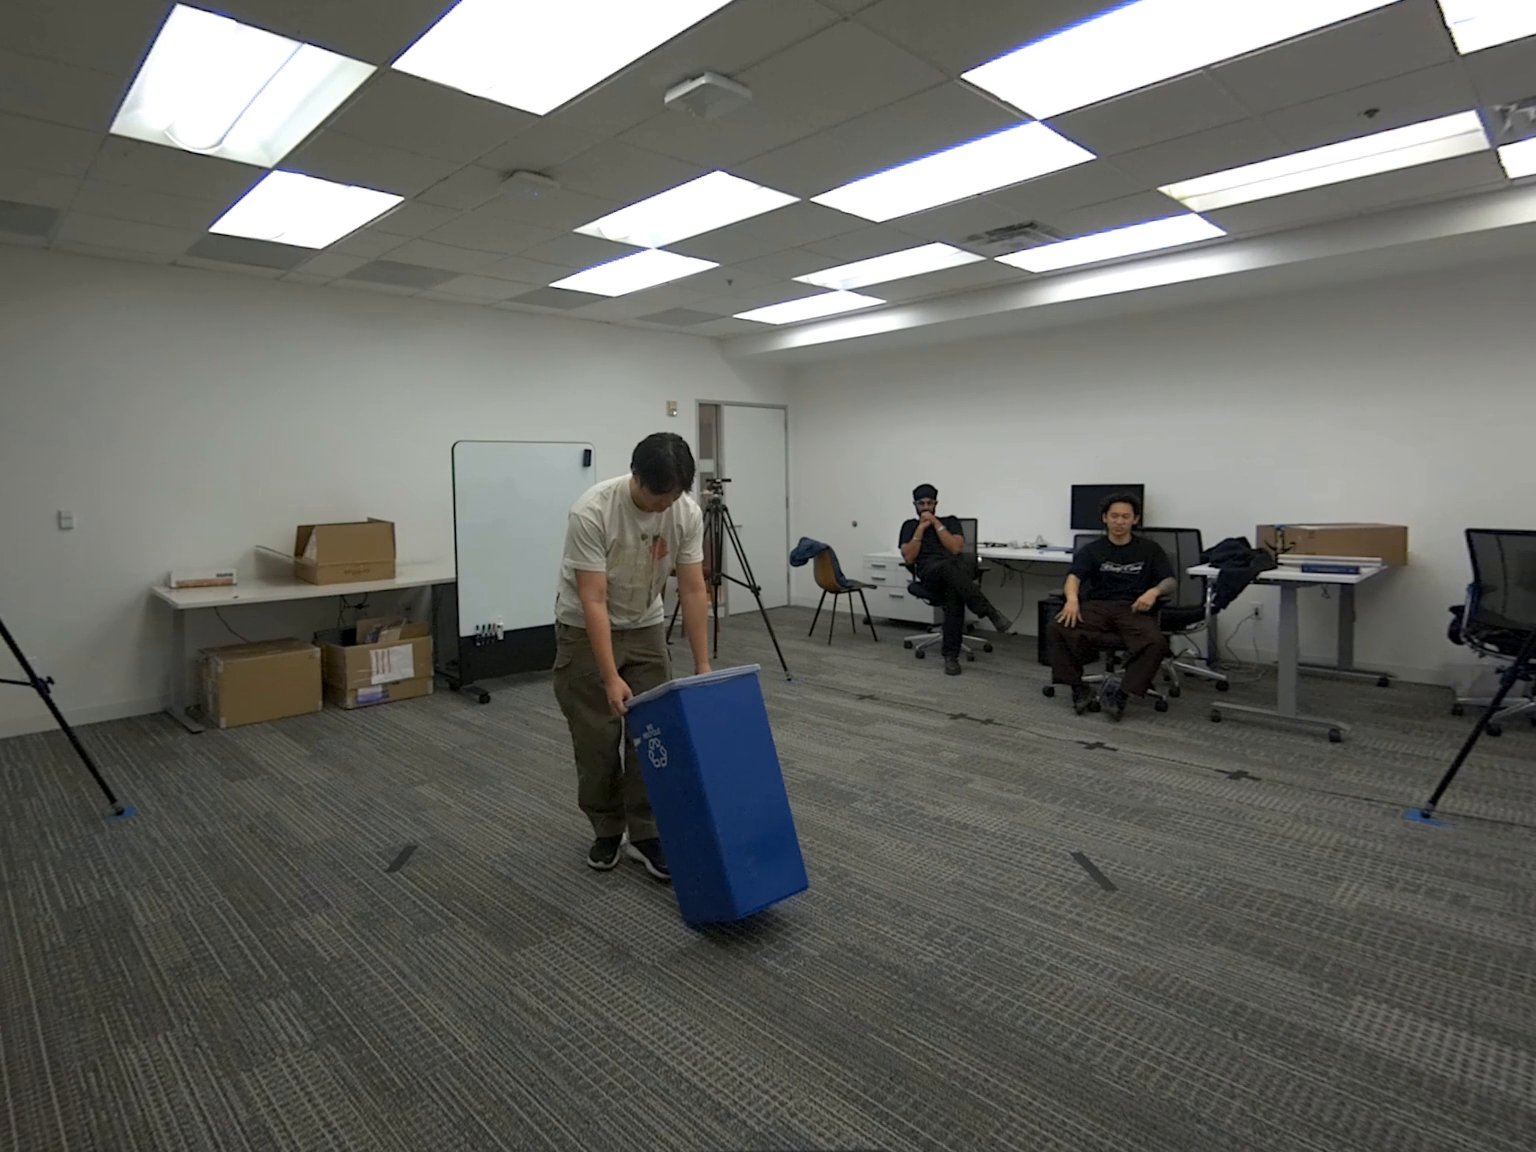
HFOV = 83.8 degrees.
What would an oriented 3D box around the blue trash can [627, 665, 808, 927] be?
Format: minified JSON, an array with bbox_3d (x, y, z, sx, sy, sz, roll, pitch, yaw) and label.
[{"bbox_3d":[-0.159,0.693,2.761,0.368,0.726,0.377,-5,-19,-39],"label":"blue trash can"}]
